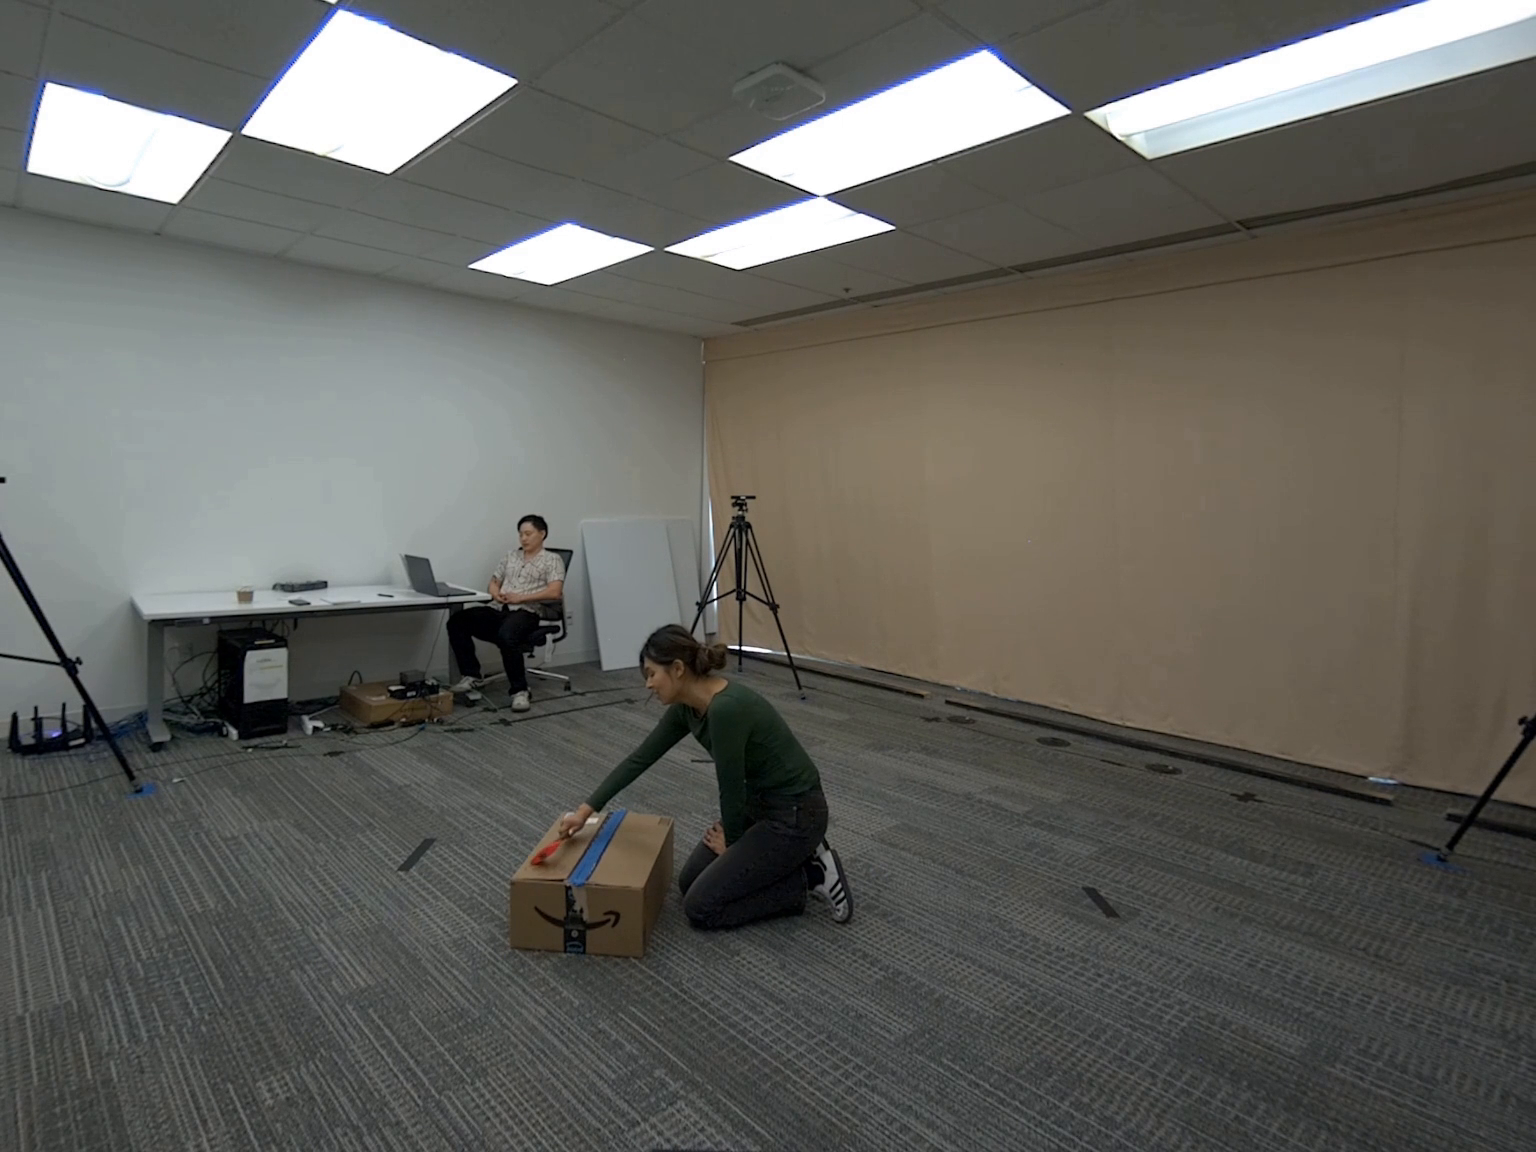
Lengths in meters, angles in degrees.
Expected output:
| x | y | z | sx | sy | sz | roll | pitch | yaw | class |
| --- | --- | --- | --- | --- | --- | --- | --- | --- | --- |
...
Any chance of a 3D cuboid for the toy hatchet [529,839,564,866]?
| x | y | z | sx | sy | sz | roll | pitch | yaw | class |
| --- | --- | --- | --- | --- | --- | --- | --- | --- | --- |
| -0.702 | 0.874 | 2.763 | 0.131 | 0.030 | 0.268 | -39 | -4 | -3 | toy hatchet |
